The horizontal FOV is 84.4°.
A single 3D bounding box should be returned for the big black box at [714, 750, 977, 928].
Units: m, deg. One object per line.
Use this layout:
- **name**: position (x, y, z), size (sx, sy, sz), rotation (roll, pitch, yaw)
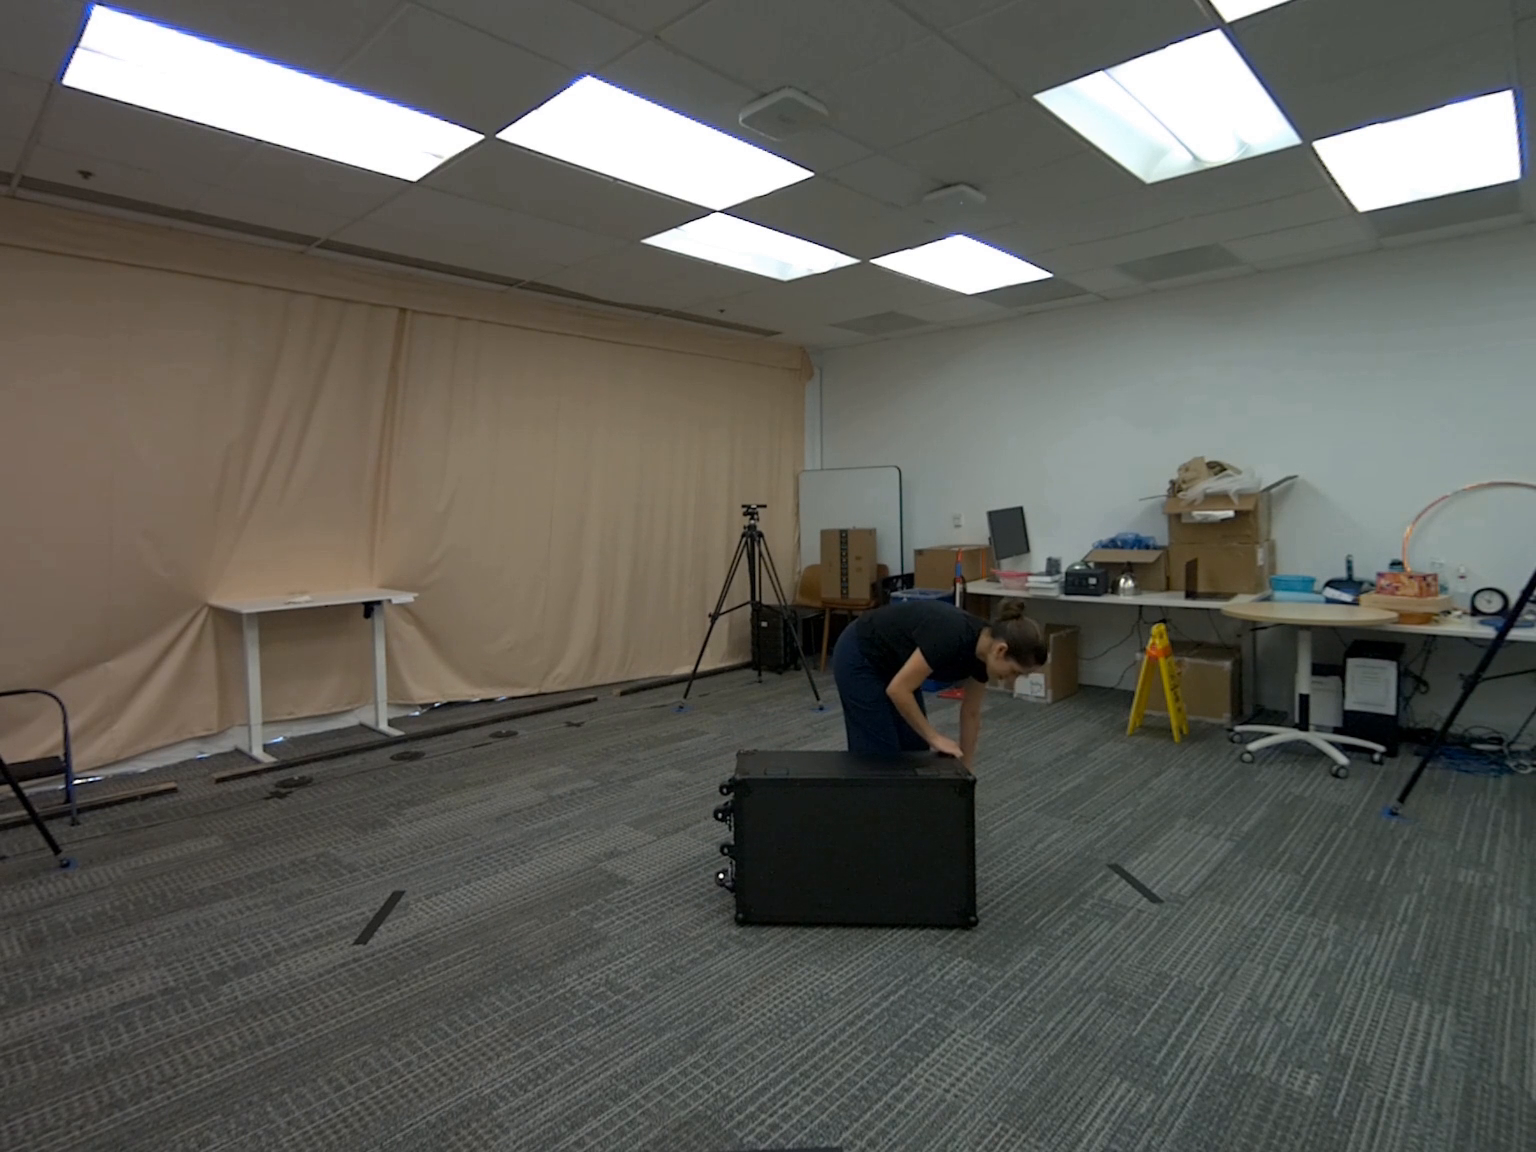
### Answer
- **big black box**: position (0.261, 0.881, 2.930), size (0.865, 0.521, 0.395), rotation (0, 2, 3)
